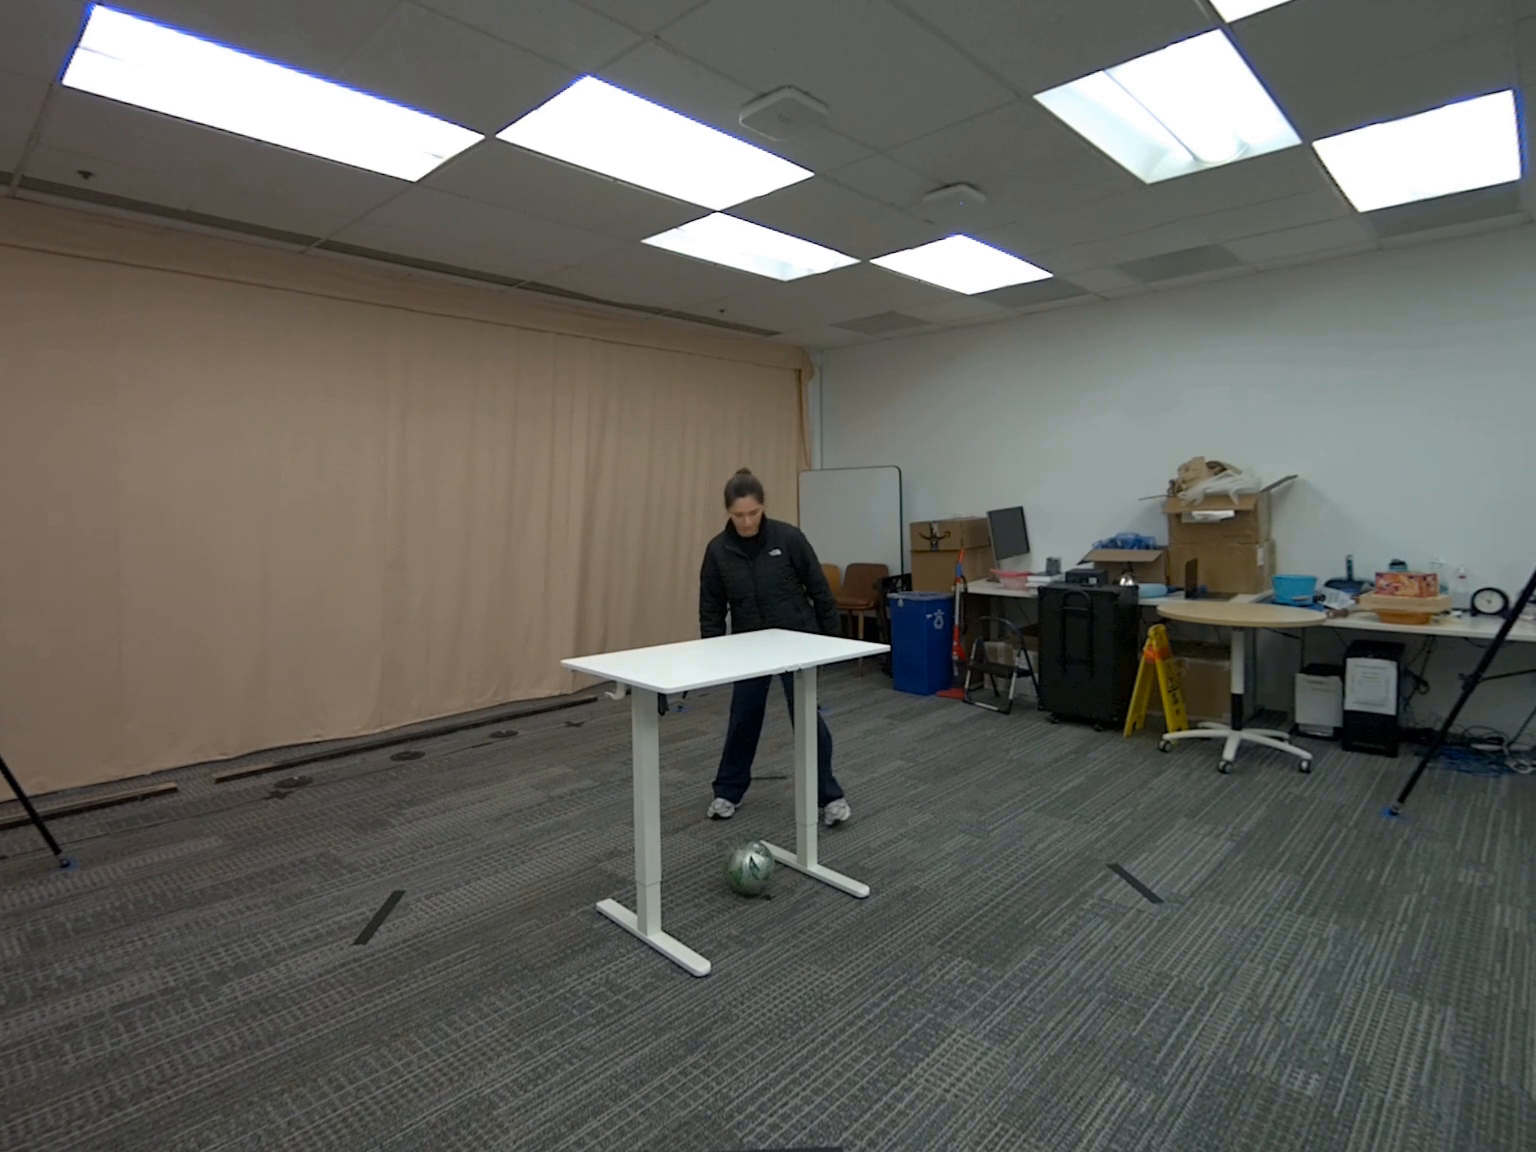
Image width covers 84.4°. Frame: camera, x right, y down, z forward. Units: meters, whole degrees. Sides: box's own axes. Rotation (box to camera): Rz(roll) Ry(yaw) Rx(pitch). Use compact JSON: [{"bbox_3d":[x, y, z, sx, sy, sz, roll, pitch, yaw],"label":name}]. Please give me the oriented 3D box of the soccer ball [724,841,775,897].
[{"bbox_3d":[-0.070,1.036,3.022,0.187,0.187,0.188,-1,4,-2],"label":"soccer ball"}]
